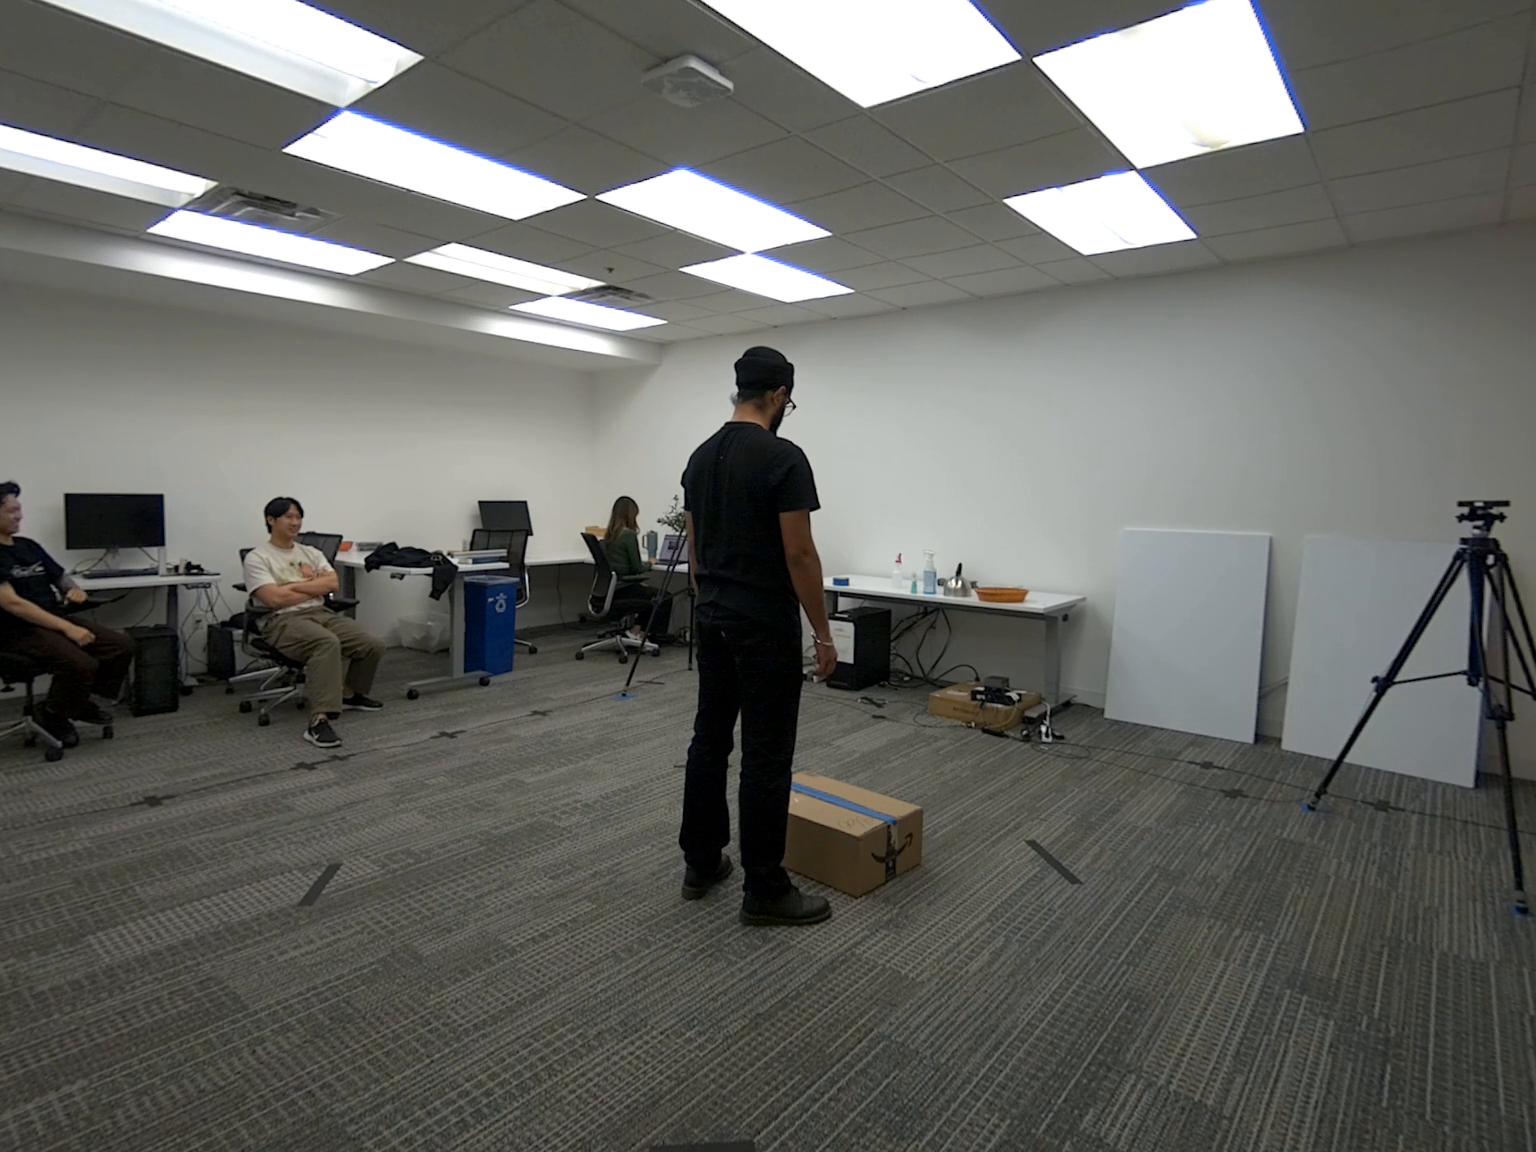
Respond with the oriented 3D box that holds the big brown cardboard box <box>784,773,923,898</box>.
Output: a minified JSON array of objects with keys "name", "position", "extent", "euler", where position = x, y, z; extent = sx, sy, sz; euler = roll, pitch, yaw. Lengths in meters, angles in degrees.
[{"name":"big brown cardboard box","position":[0.222,0.963,3.252],"extent":[0.610,0.232,0.405],"euler":[8,8,42]}]
